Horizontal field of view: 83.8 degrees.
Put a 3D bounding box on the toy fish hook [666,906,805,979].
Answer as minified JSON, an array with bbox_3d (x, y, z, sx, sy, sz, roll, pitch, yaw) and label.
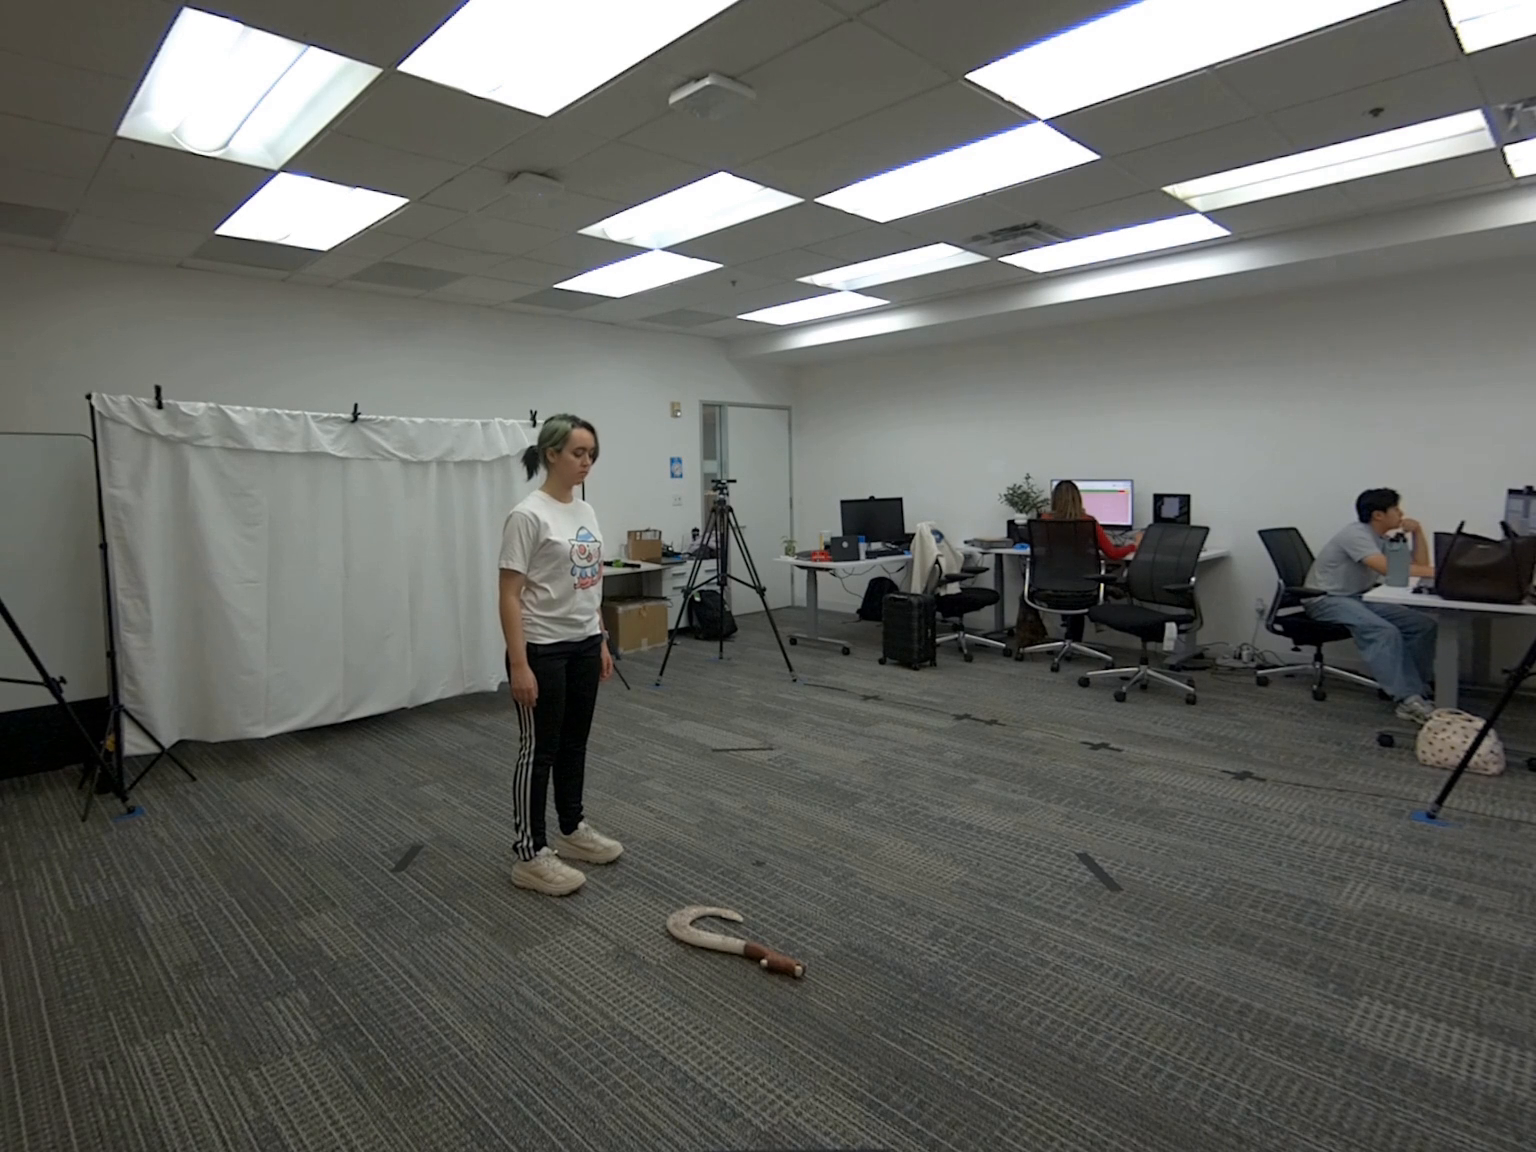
[{"bbox_3d":[-0.077,1.088,2.576,0.521,0.048,0.219,4,11,36],"label":"toy fish hook"}]
